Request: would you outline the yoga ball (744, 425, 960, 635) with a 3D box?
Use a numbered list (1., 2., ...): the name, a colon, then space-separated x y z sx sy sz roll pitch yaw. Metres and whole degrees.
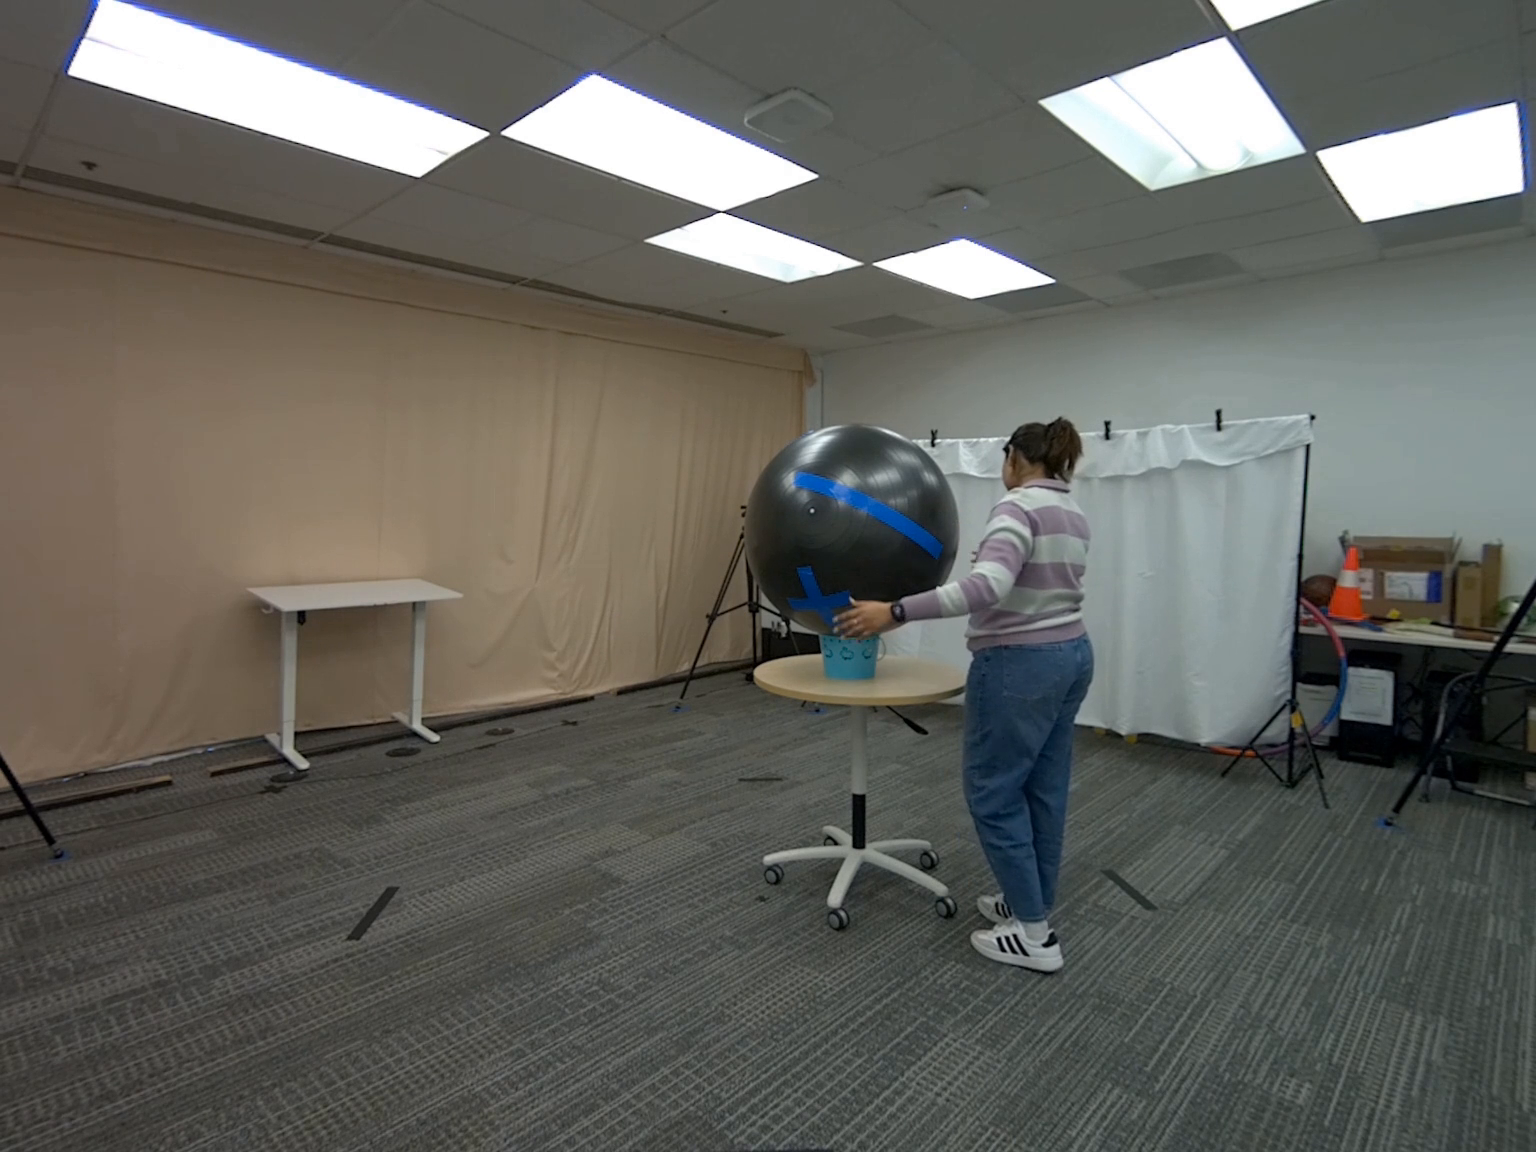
1. yoga ball: 0.297 -0.155 3.014 0.757 0.756 0.760 0 4 -2
